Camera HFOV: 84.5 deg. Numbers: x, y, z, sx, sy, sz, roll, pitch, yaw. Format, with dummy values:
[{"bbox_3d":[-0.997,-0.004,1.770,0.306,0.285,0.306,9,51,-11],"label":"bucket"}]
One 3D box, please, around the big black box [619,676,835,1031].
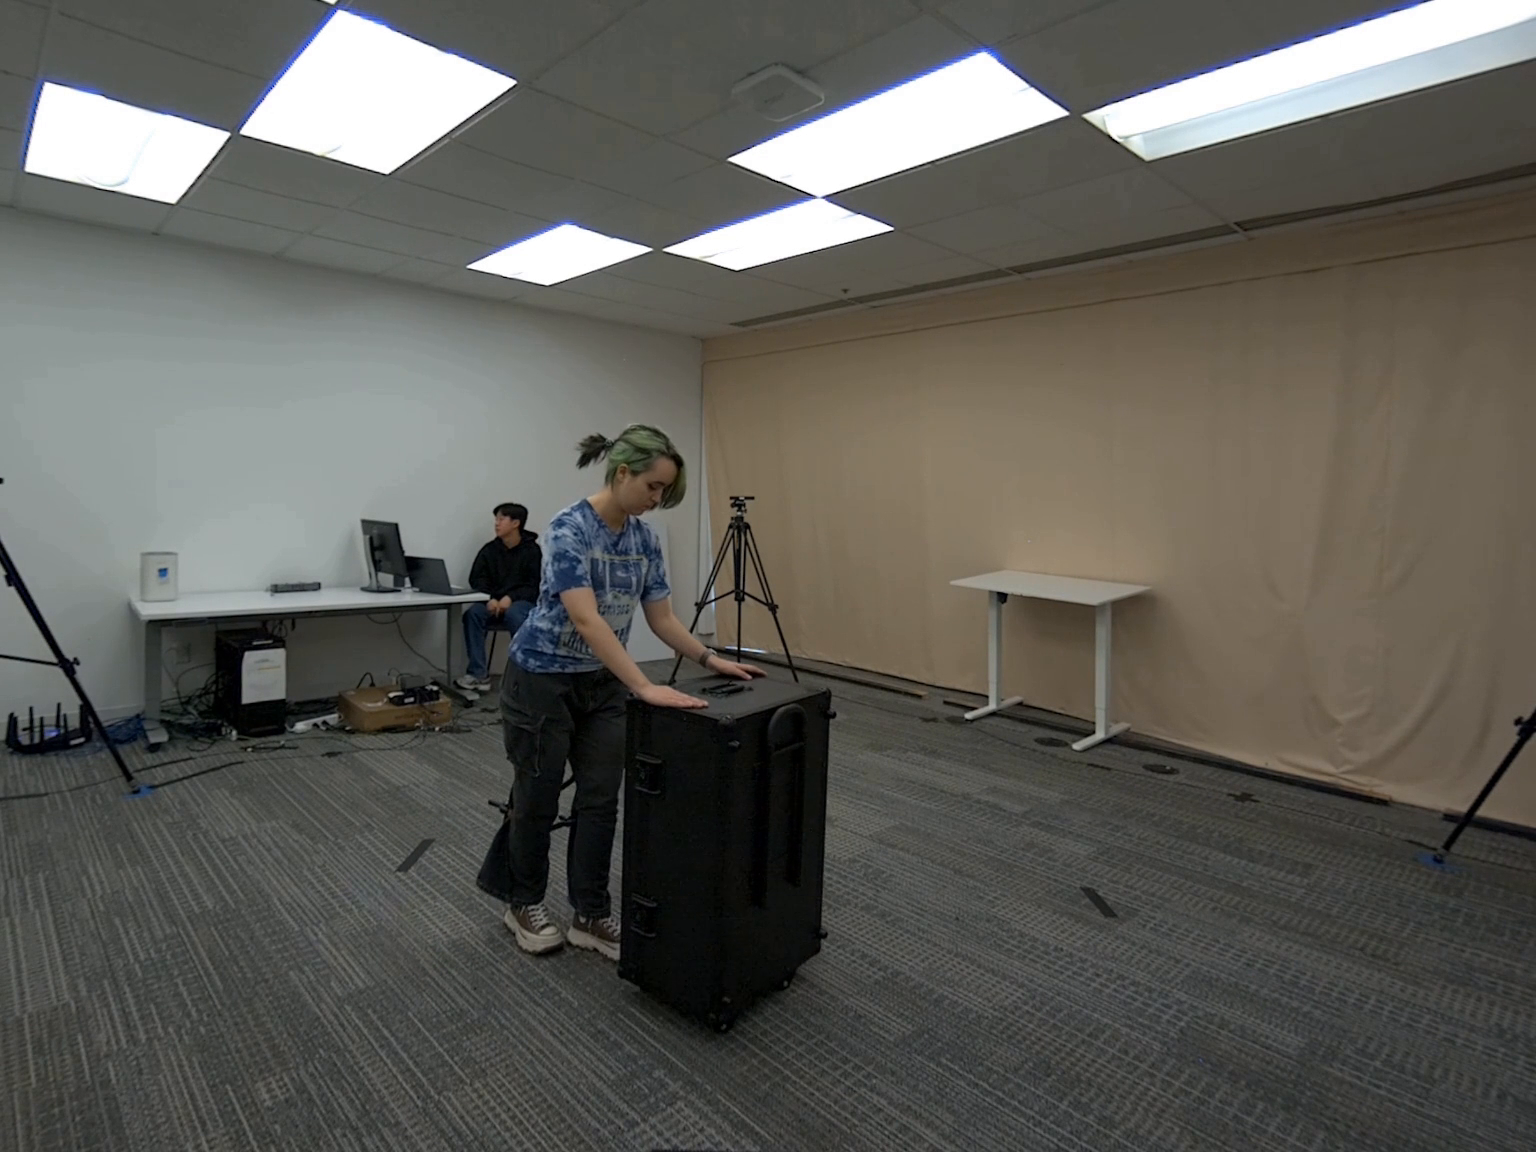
[{"bbox_3d":[-0.109,0.753,2.359,0.406,0.859,0.510,6,6,37],"label":"big black box"}]
